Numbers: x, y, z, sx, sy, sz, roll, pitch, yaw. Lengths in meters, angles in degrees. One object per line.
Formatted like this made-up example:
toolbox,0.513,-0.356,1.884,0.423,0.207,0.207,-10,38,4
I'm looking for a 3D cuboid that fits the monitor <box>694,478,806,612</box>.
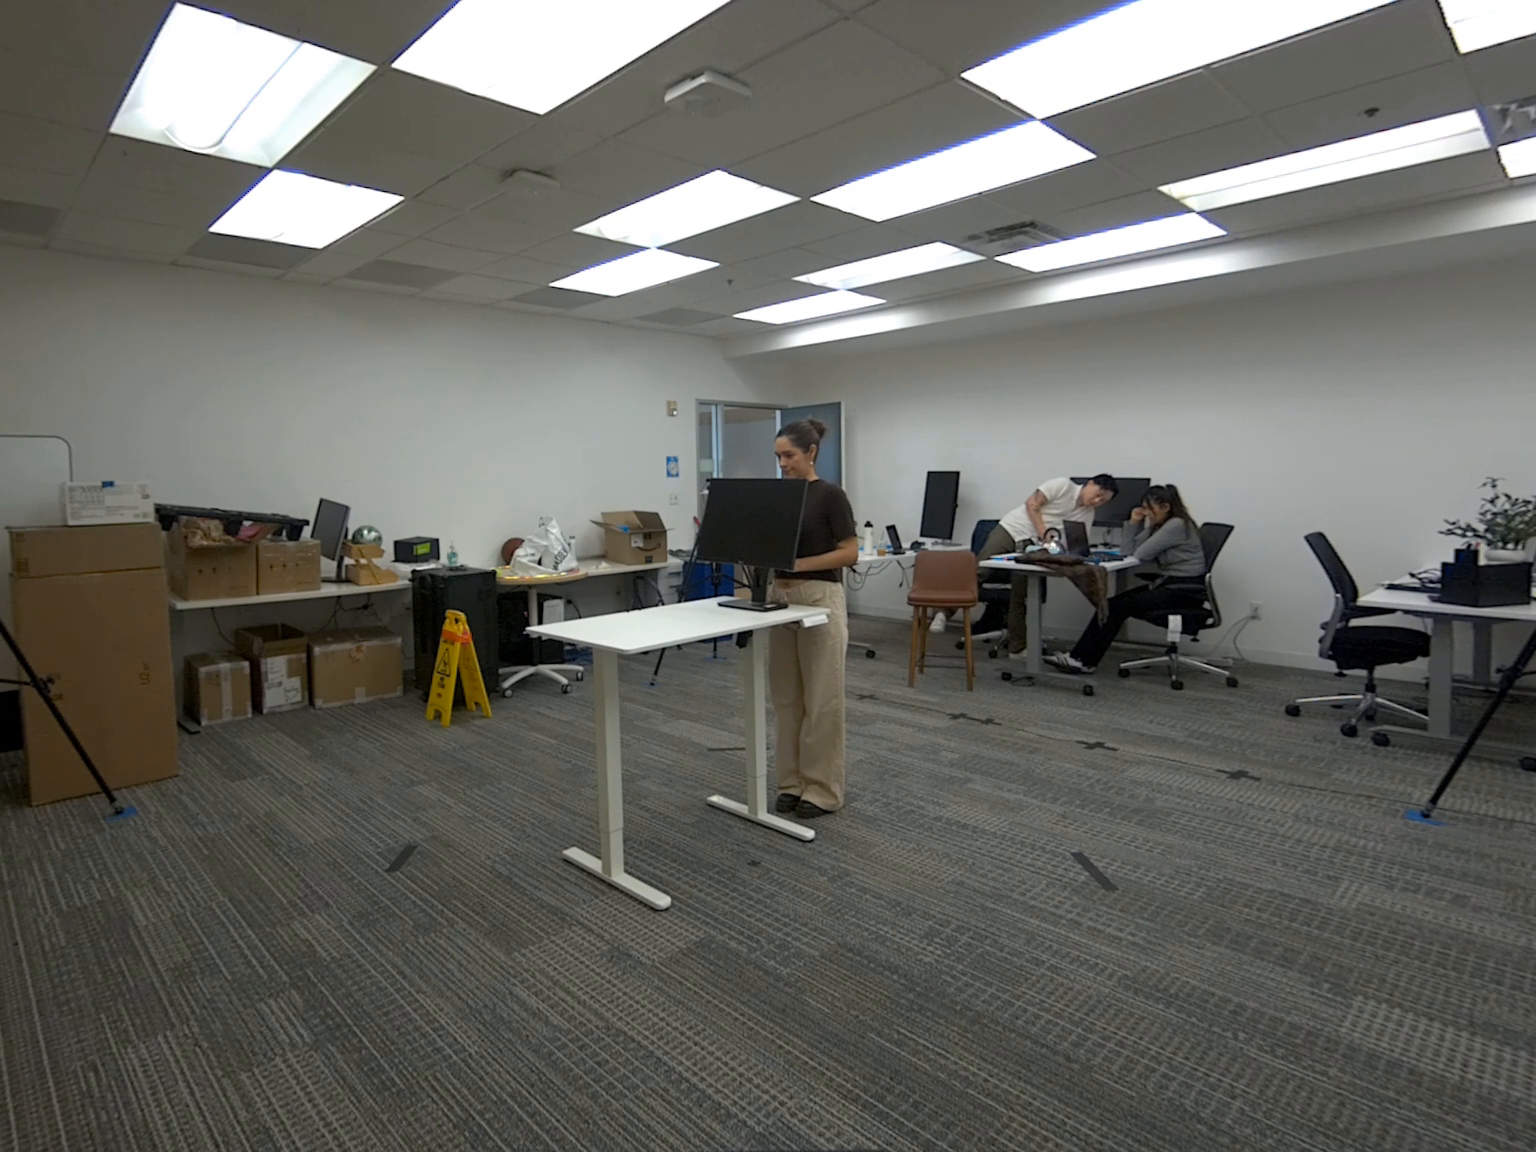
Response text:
monitor,-0.060,-0.133,3.418,0.547,0.513,0.170,6,10,43
